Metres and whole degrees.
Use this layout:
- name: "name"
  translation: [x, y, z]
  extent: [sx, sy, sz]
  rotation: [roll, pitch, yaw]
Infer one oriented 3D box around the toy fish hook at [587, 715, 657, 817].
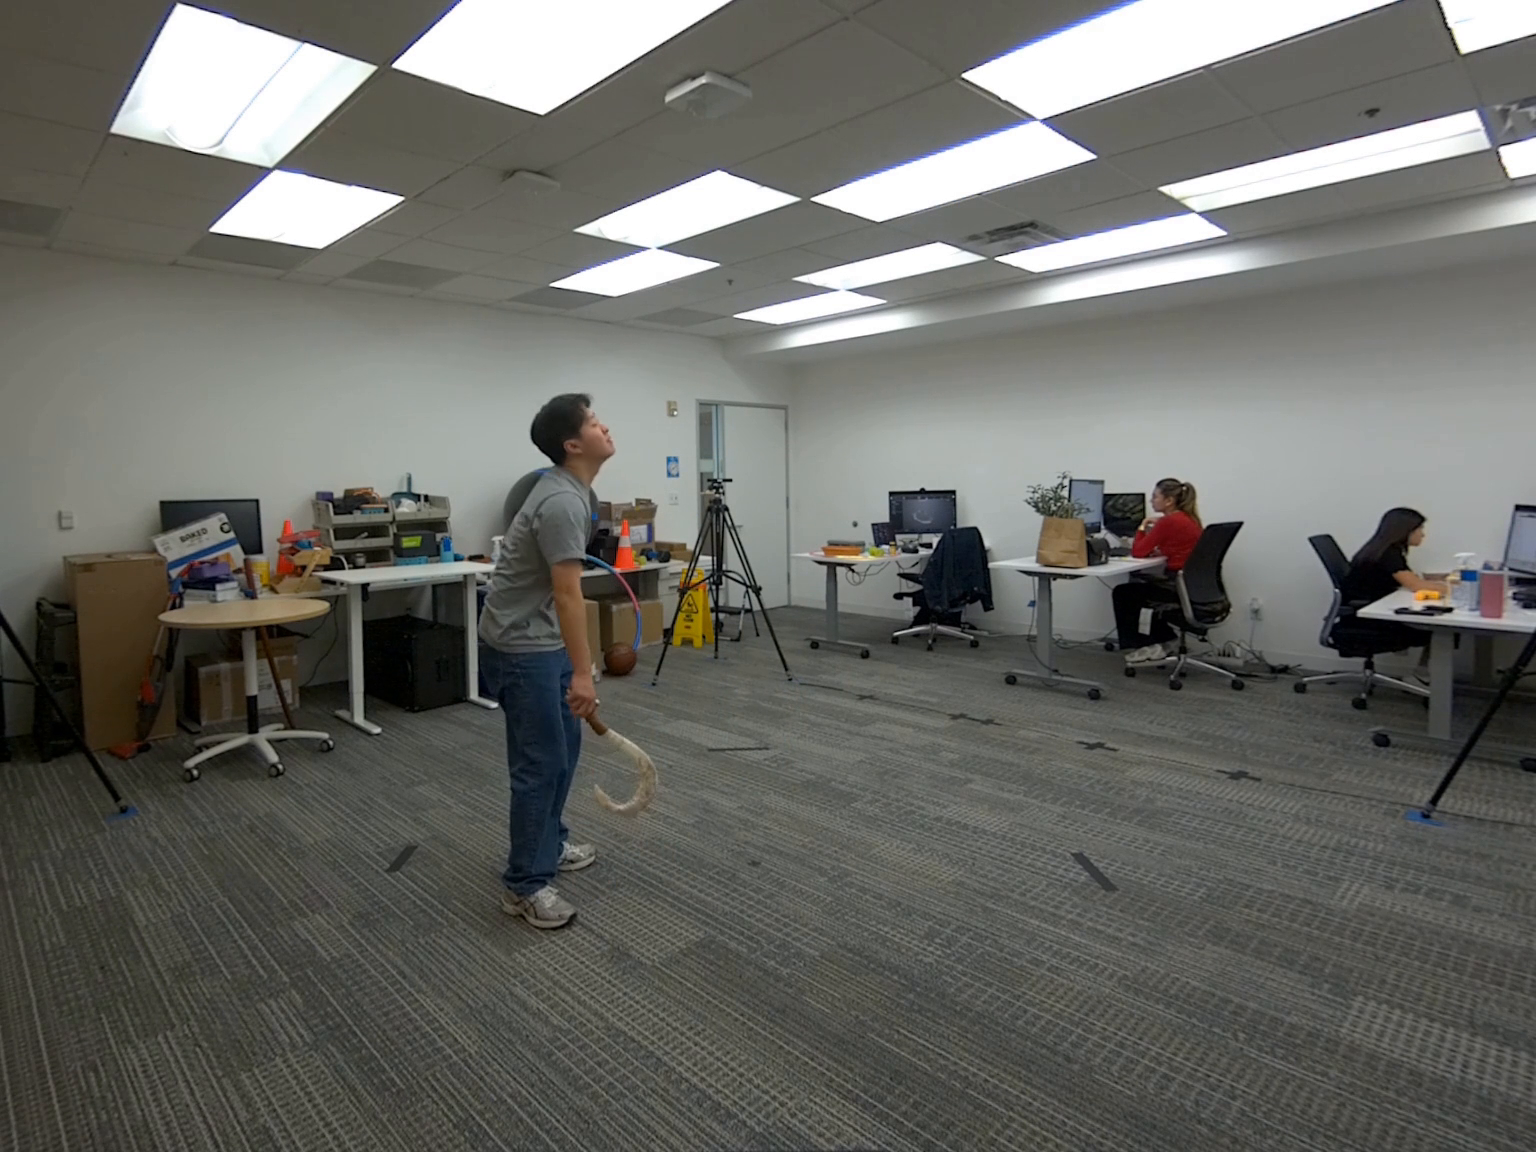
- name: "toy fish hook"
  translation: [-0.531, 0.581, 2.765]
  extent: [0.049, 0.495, 0.225]
  rotation: [-14, 28, 48]
